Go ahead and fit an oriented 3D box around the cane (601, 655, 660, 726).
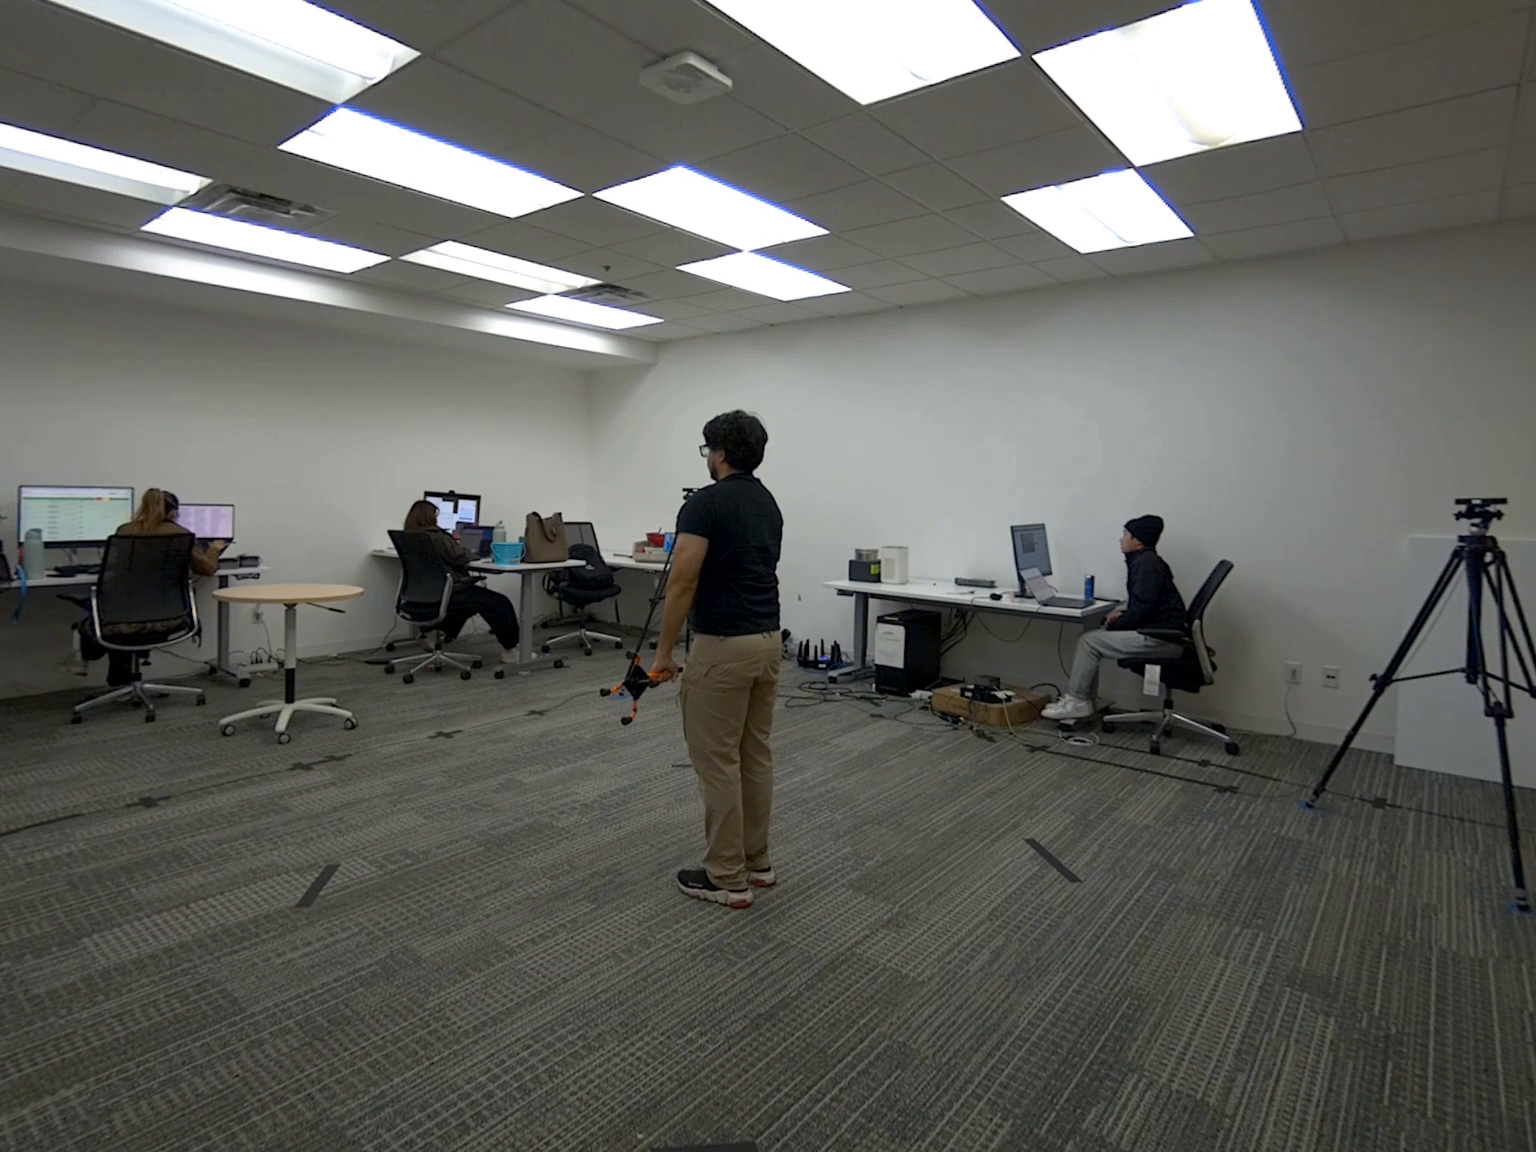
[{"bbox_3d":[-0.228,0.322,3.080,0.156,0.206,0.883,48,28,22],"label":"cane"}]
